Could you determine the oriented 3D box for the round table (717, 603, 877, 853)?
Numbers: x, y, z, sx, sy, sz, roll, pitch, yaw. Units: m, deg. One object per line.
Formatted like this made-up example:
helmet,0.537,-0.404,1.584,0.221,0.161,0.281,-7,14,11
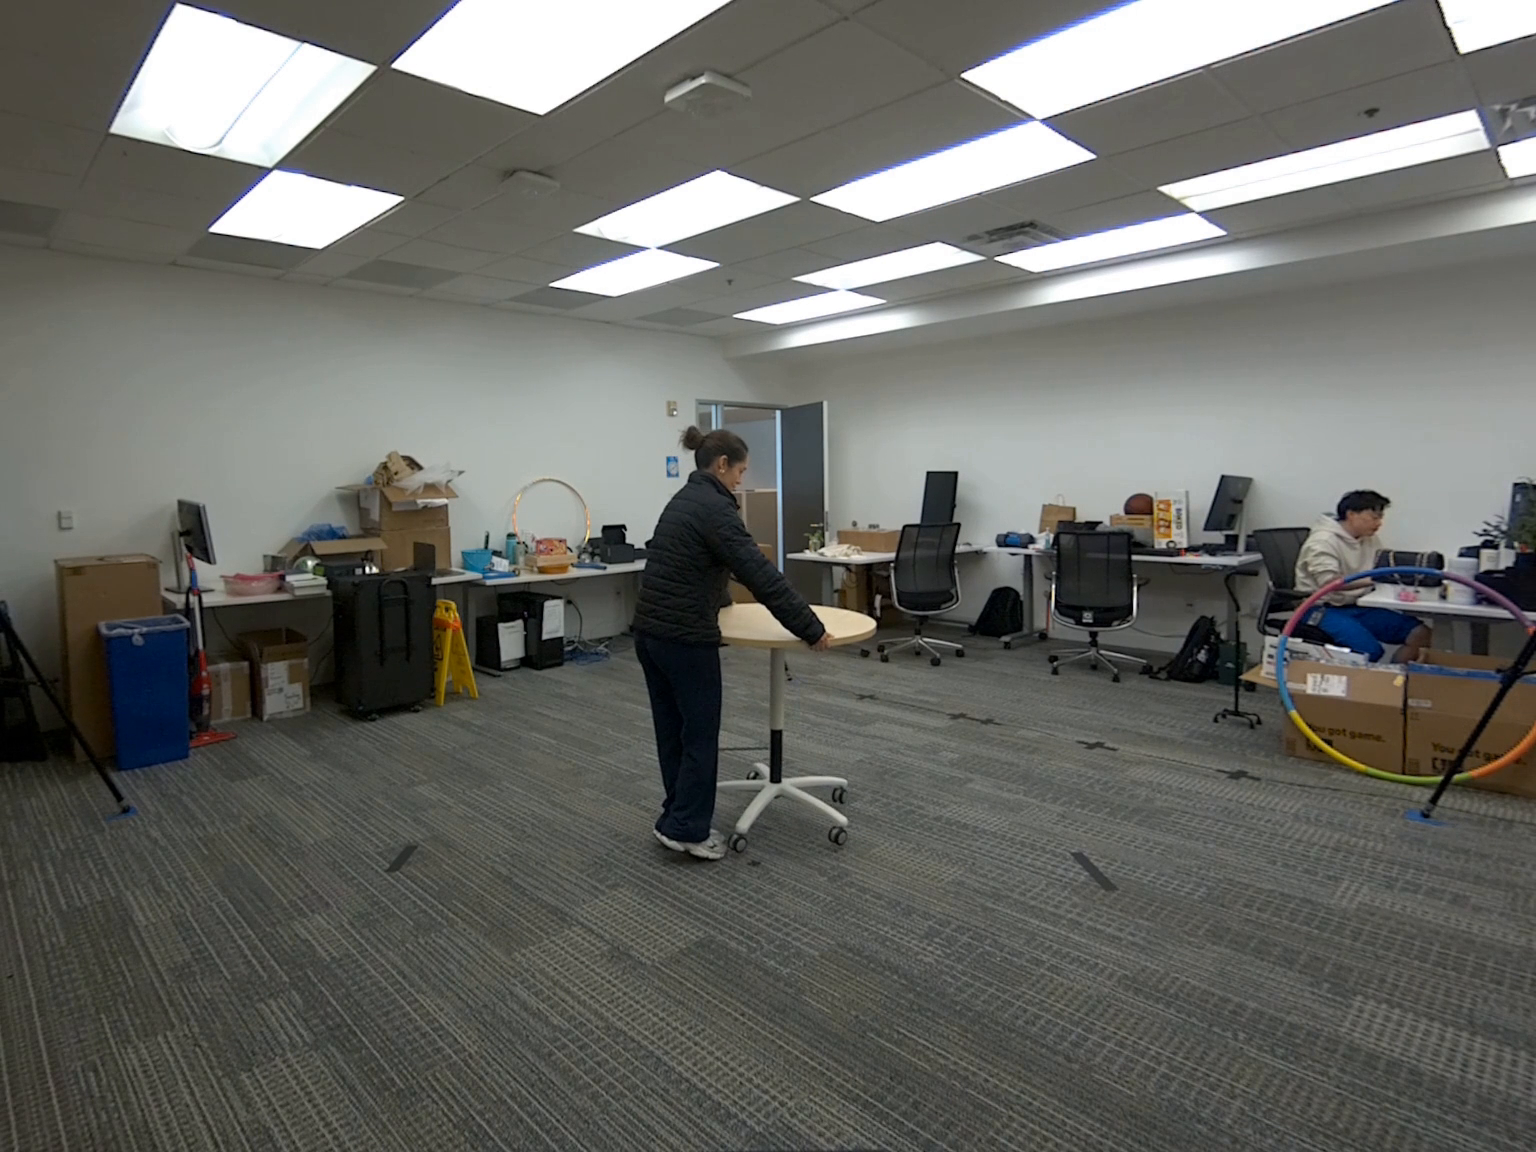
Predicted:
round table,0.024,0.572,3.431,0.784,0.782,0.790,0,6,-2
